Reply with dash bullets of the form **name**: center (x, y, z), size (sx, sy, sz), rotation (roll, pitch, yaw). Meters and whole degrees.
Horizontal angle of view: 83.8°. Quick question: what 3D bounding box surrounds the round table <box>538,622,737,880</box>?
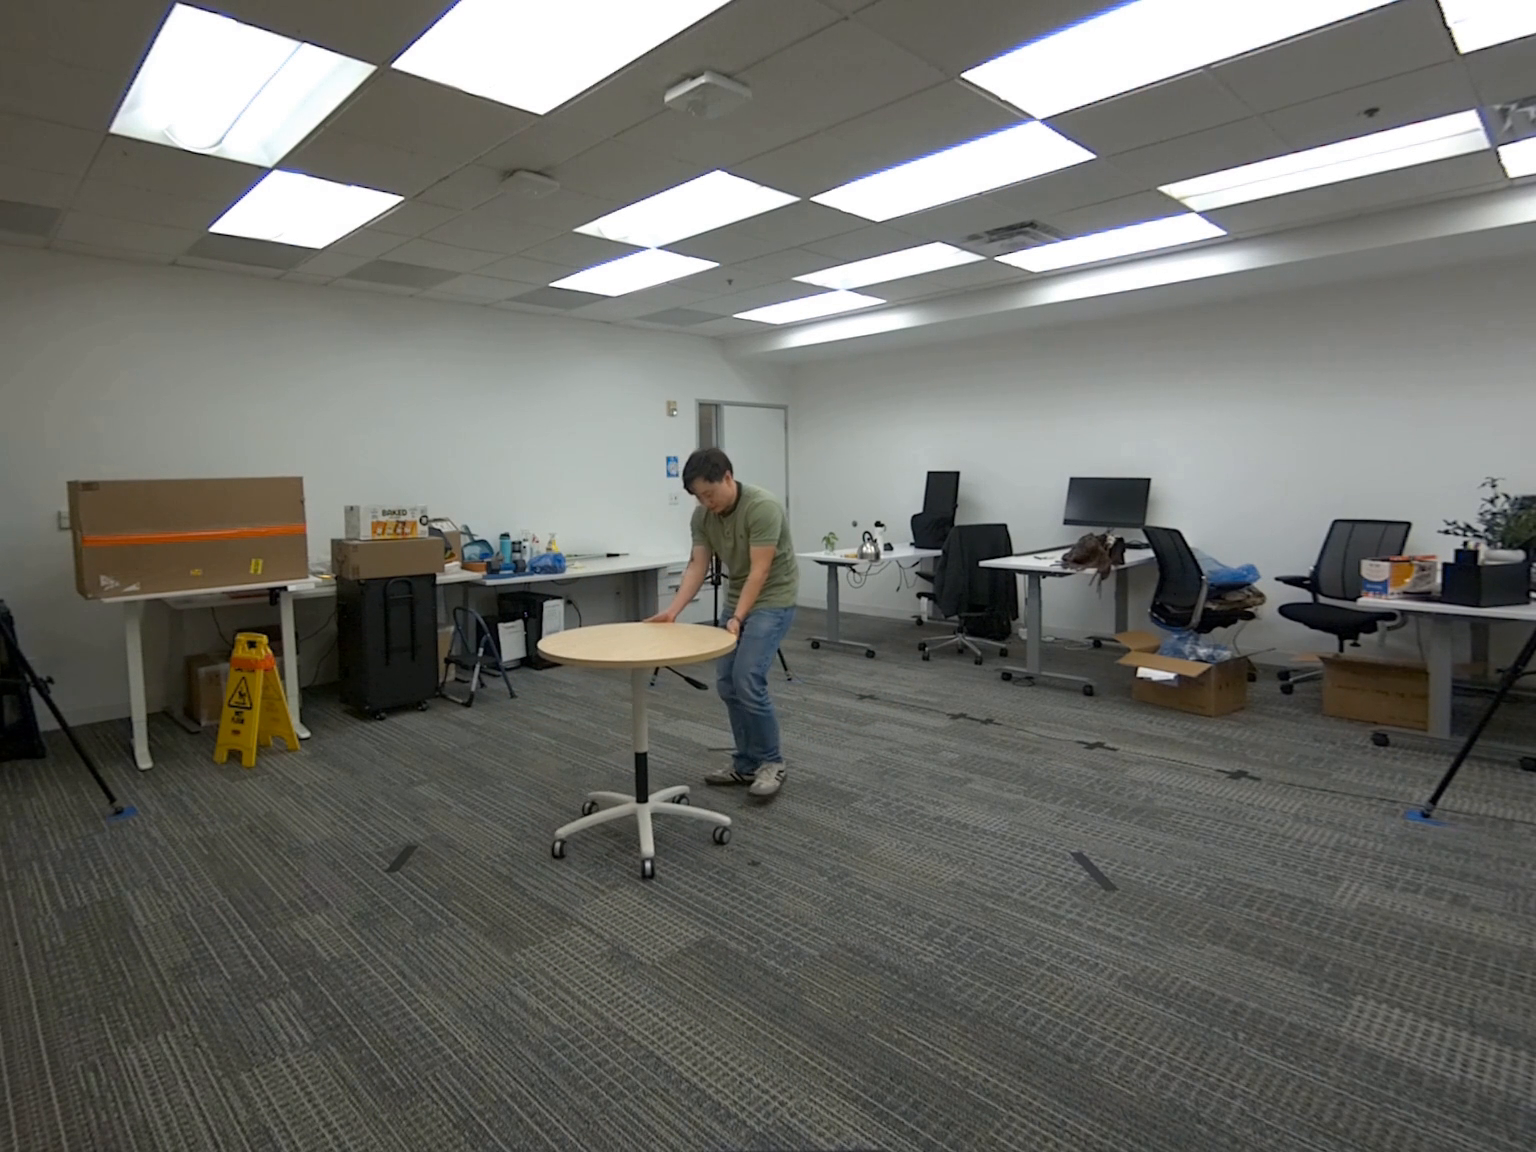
- **round table**: center (-0.501, 0.638, 3.333), size (0.763, 0.791, 0.768), rotation (-1, 5, -2)
